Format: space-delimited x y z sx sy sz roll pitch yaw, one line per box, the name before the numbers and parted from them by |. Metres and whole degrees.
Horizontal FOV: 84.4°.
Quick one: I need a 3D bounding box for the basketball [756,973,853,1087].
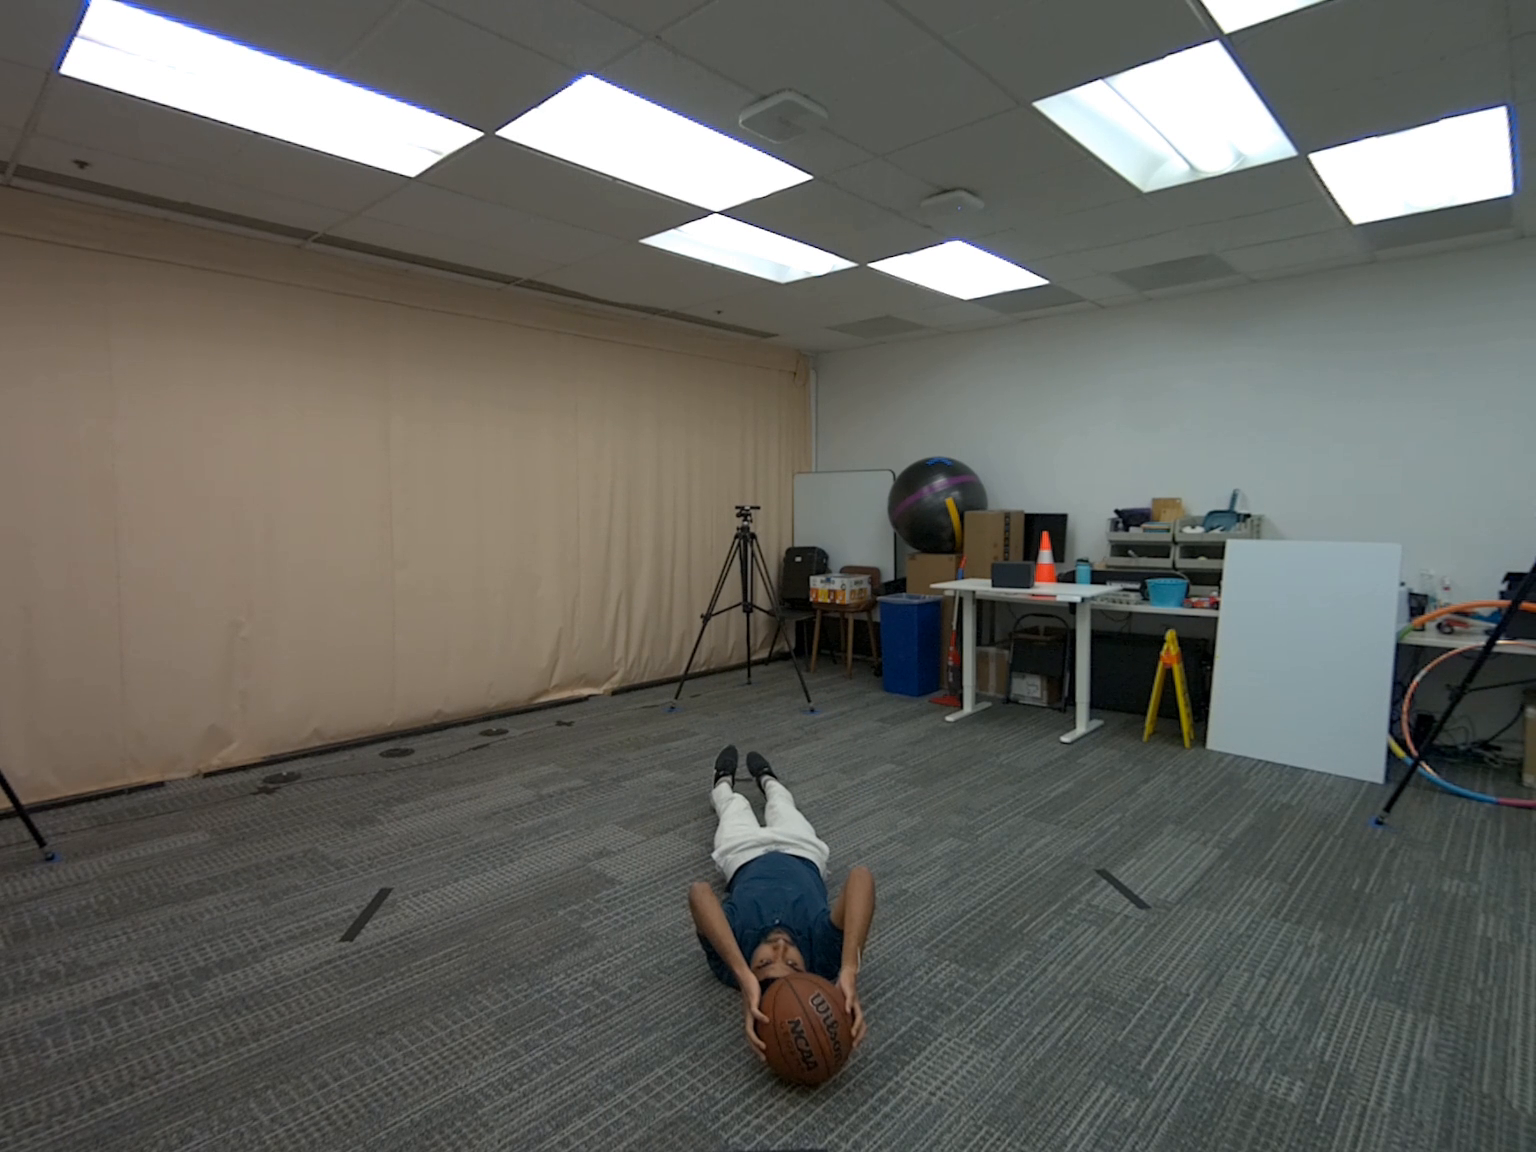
basketball | 0.097 1.106 2.046 0.236 0.235 0.237 0 4 -2
